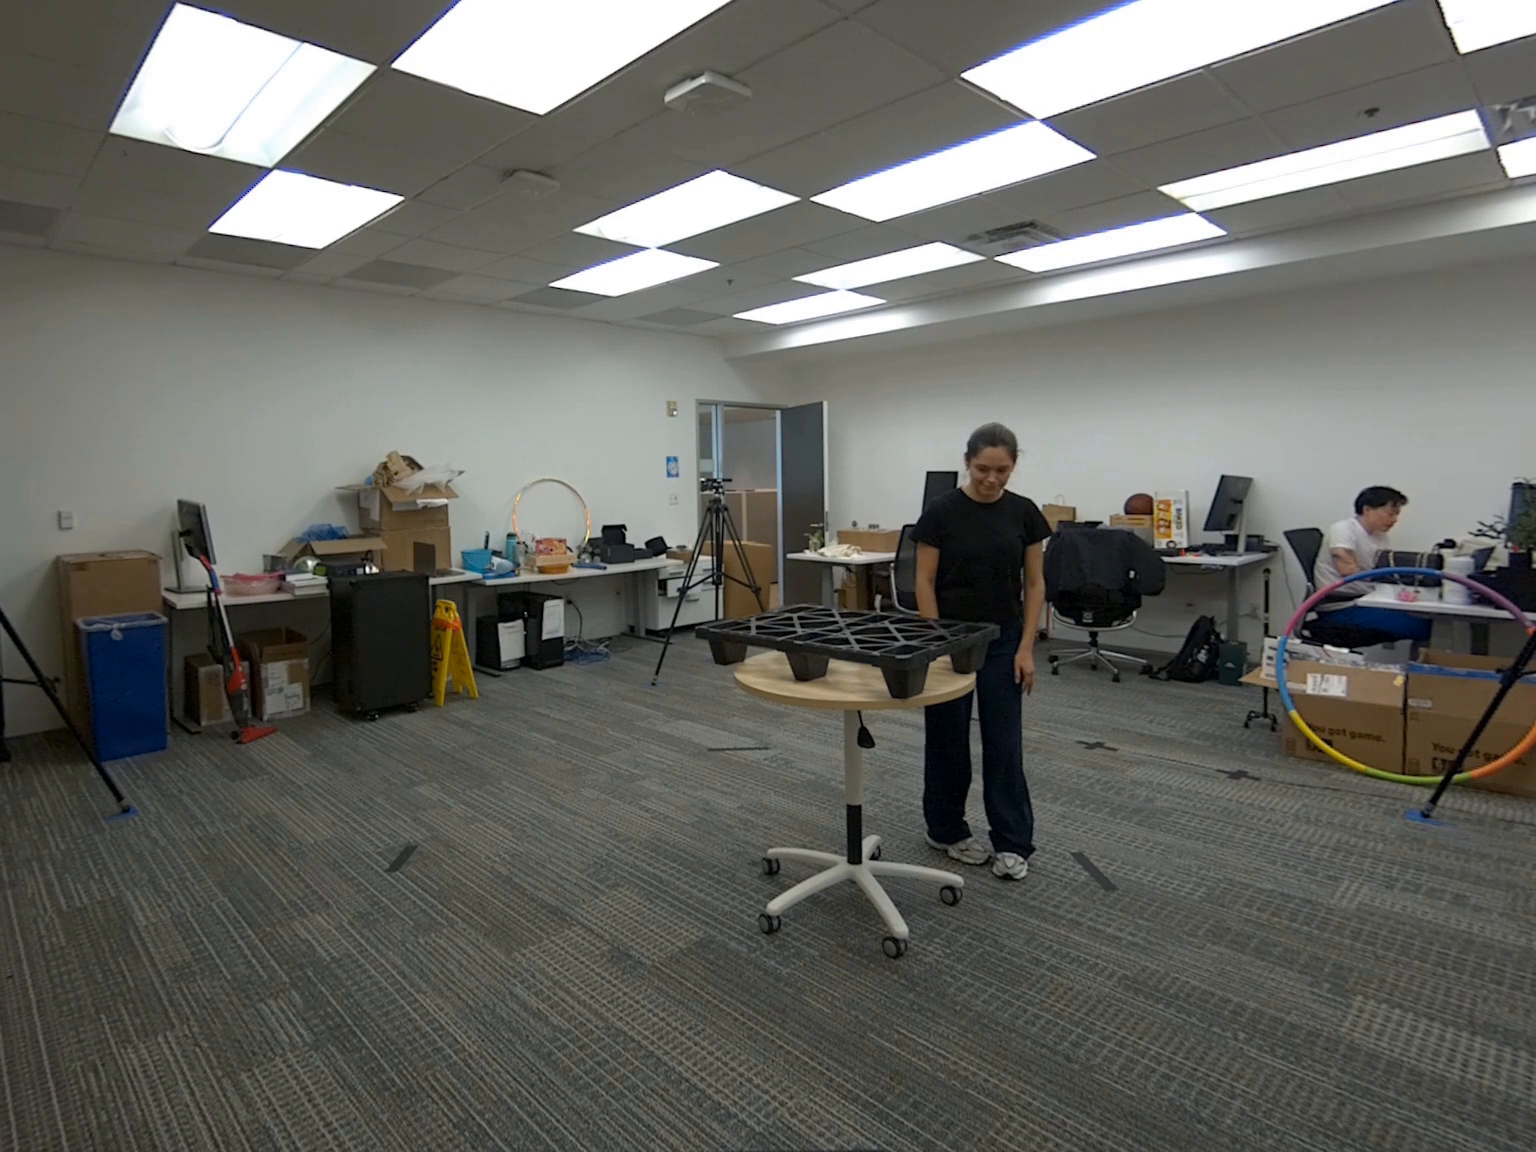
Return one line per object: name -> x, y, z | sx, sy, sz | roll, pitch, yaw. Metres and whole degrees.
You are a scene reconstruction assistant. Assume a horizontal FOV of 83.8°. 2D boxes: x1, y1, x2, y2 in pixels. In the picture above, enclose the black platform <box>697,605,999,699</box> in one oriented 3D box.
black platform -> 0.250, 0.231, 2.789 | 0.830, 0.142, 0.590 | 4, 9, 41
